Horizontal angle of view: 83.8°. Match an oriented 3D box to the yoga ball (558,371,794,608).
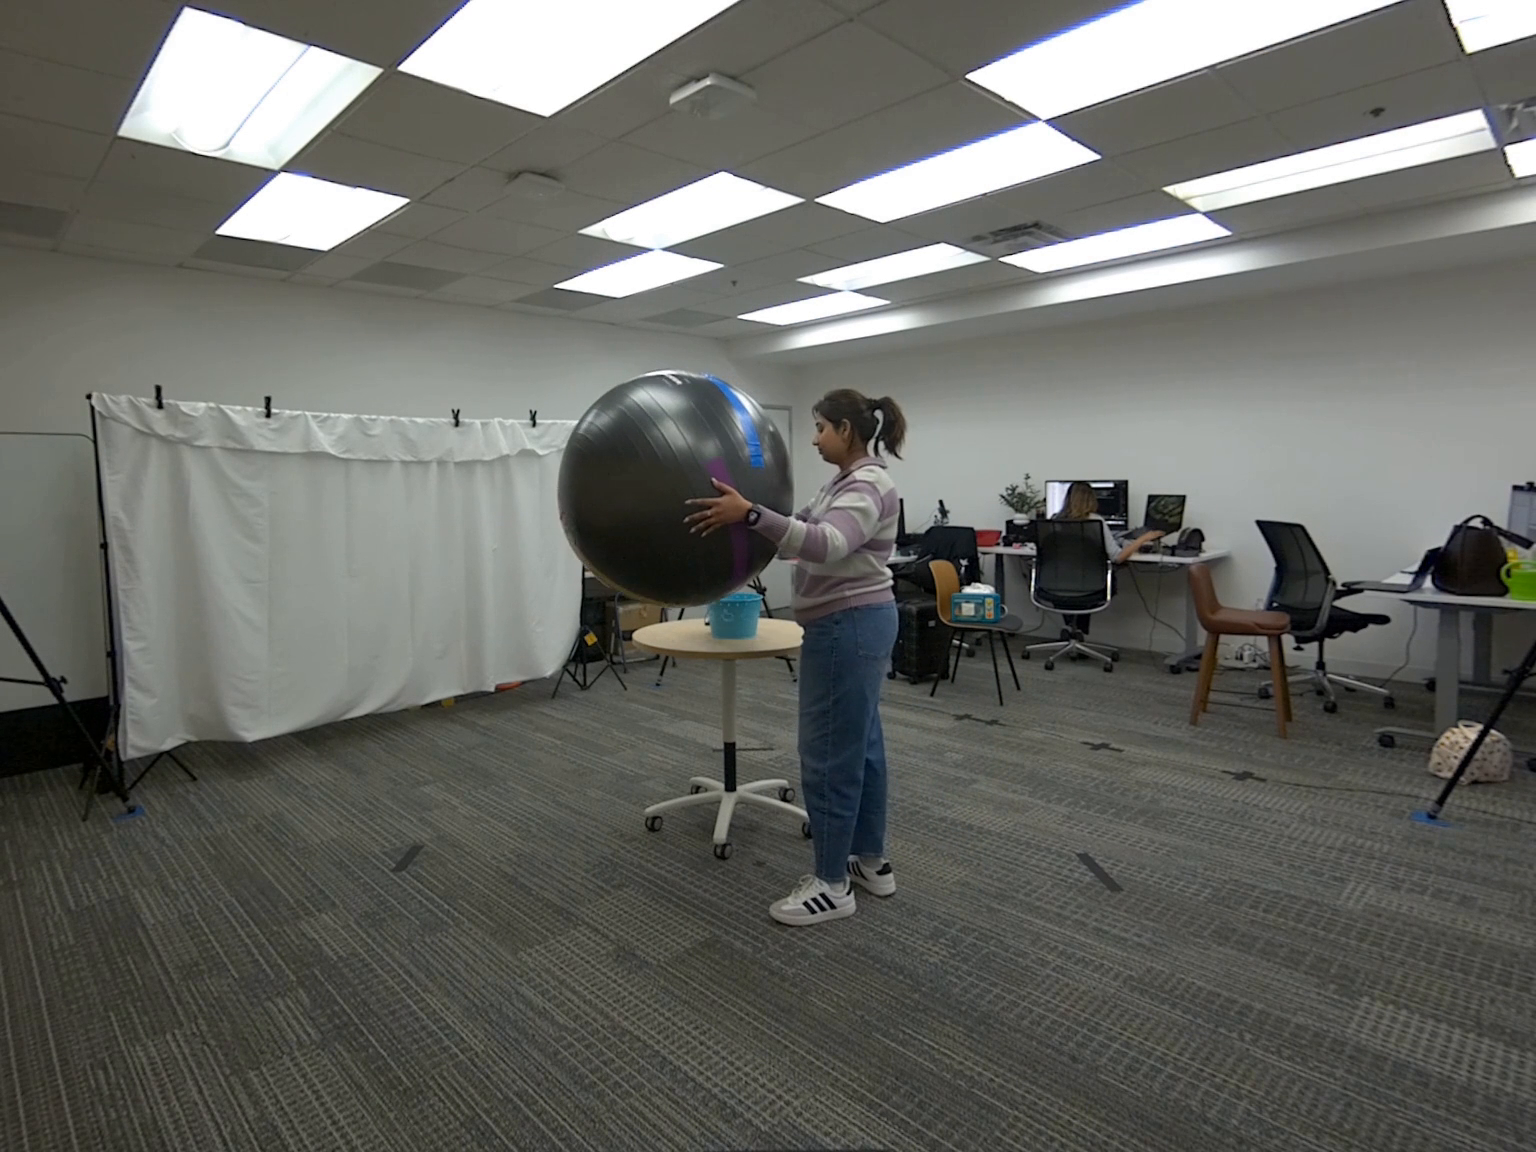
[{"bbox_3d":[-0.299,-0.273,2.760,0.757,0.755,0.762,-1,5,-2],"label":"yoga ball"}]
